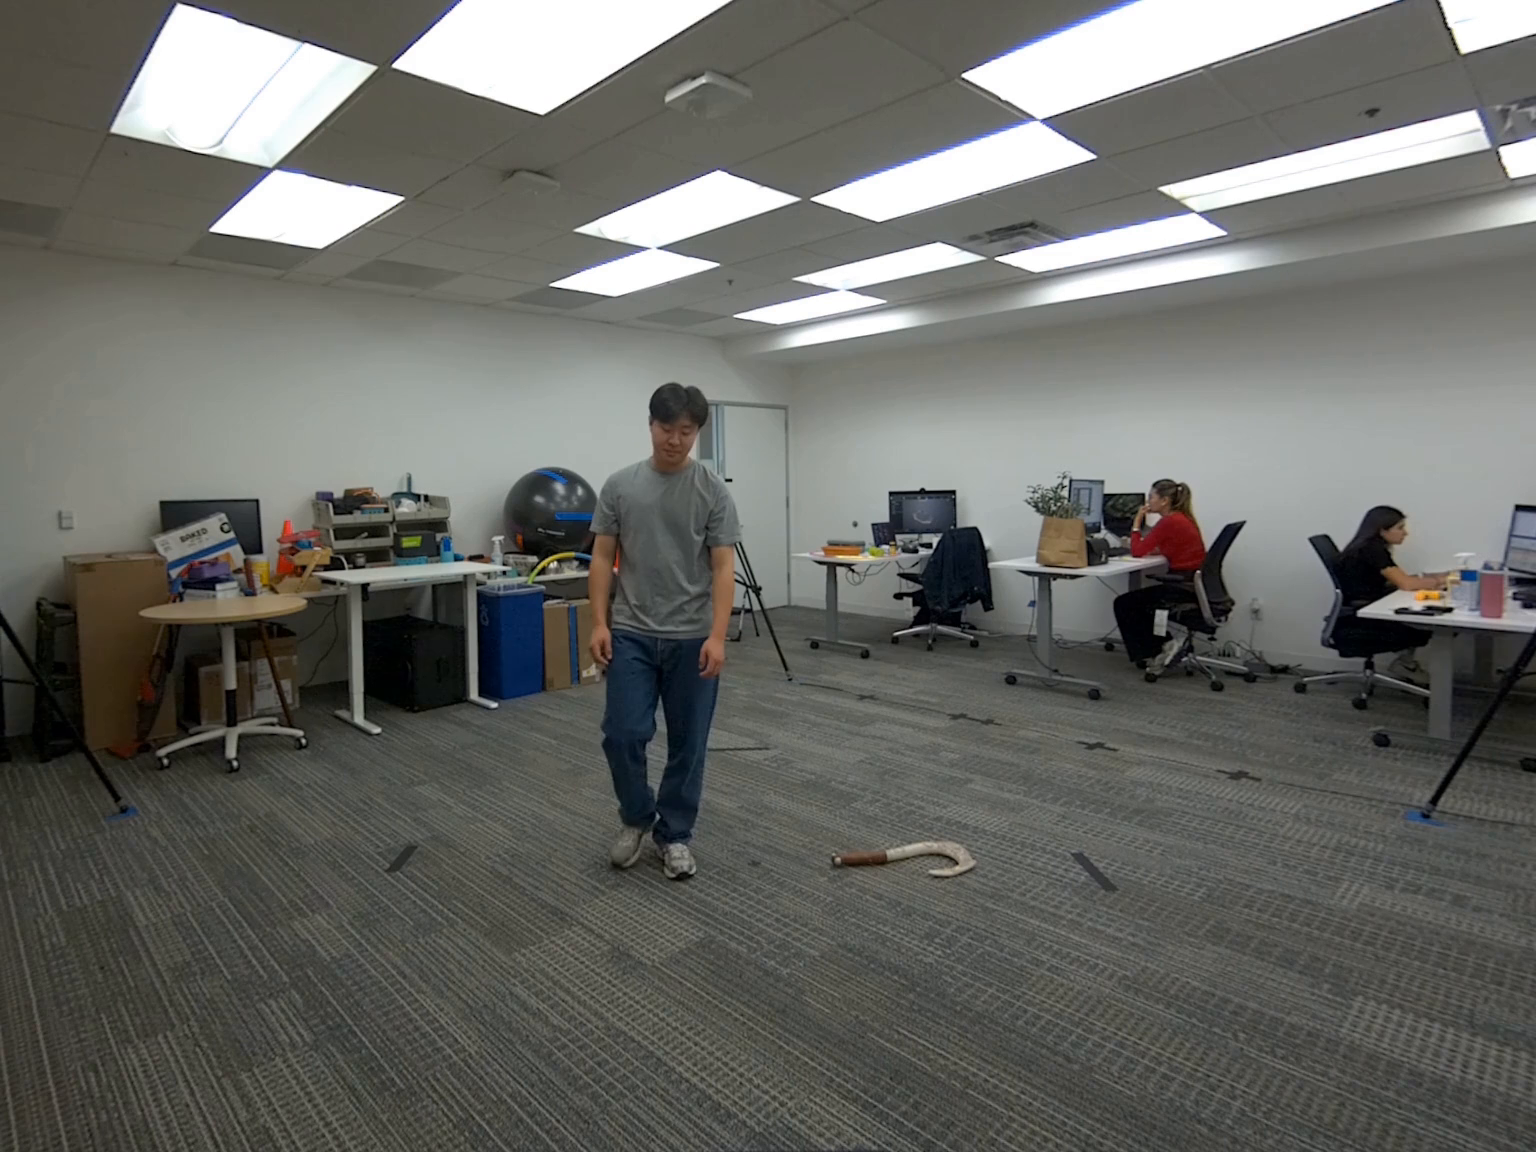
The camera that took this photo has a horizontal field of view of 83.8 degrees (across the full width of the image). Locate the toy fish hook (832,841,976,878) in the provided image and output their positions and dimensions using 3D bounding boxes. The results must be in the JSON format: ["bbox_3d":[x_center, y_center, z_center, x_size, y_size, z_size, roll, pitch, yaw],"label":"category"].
[{"bbox_3d":[0.486,1.010,3.052,0.503,0.048,0.227,-2,5,-8],"label":"toy fish hook"}]
